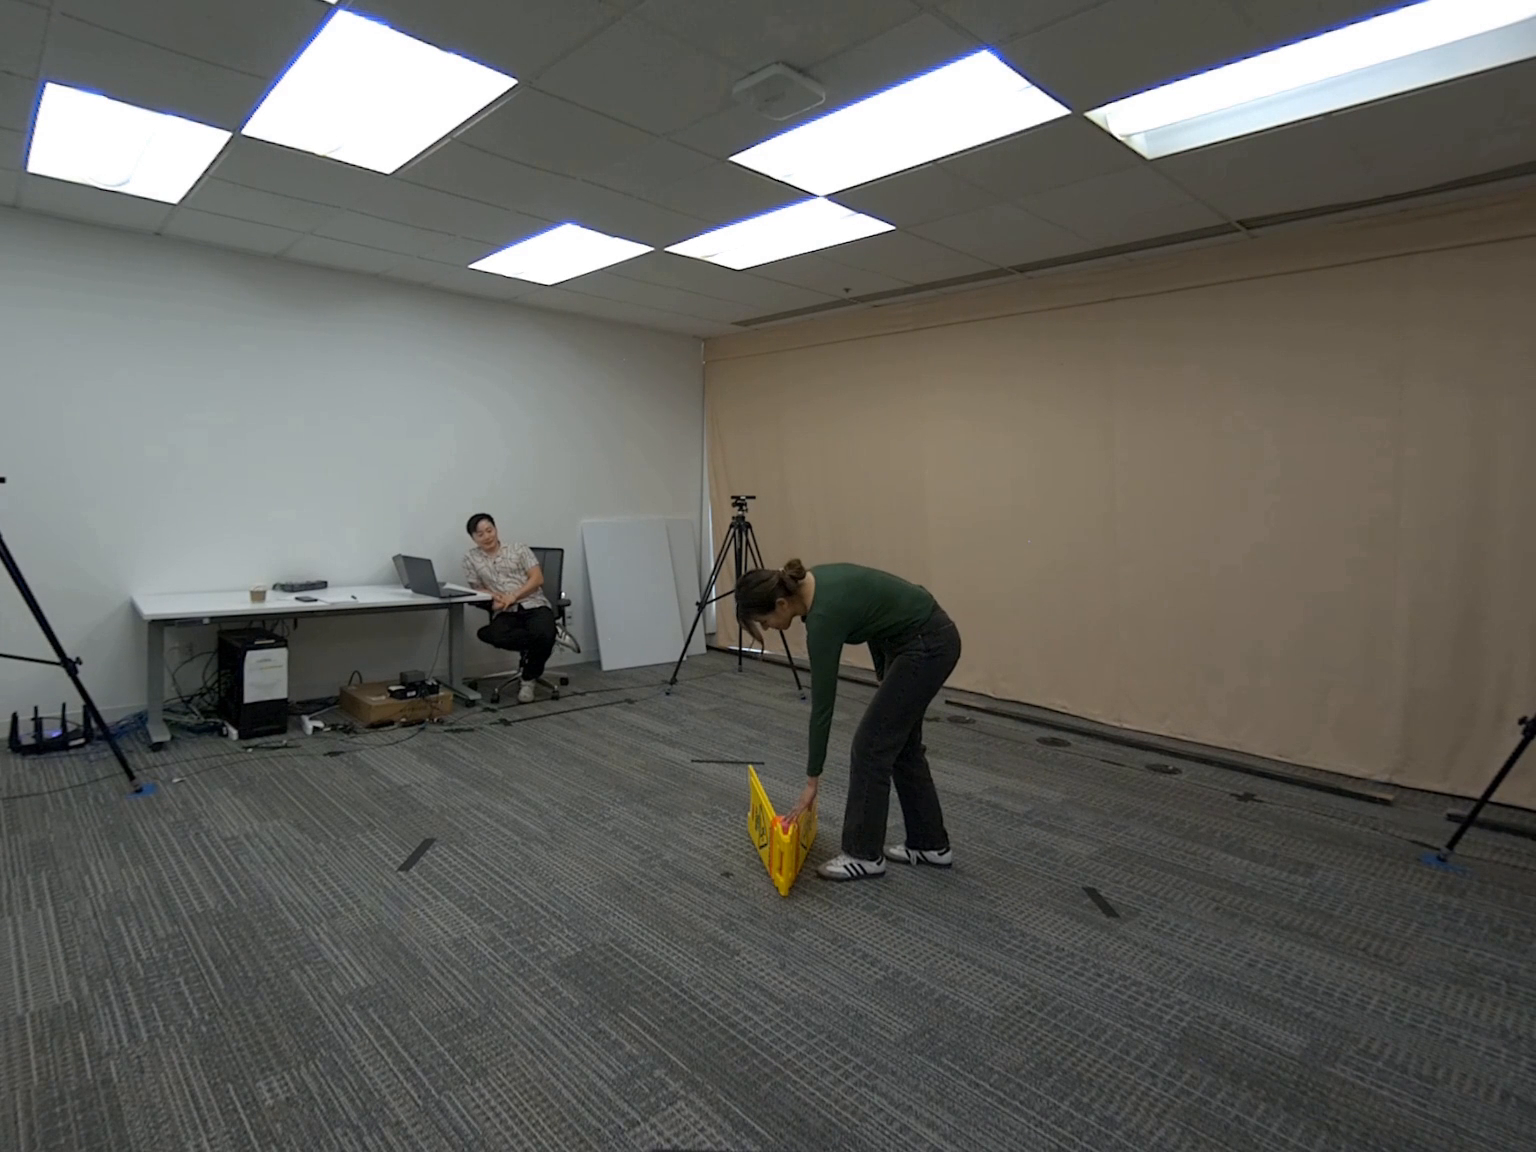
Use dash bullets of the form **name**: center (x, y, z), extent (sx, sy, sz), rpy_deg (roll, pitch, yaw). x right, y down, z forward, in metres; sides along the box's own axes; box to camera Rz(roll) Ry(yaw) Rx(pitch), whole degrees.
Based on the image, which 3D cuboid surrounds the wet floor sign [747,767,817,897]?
- **wet floor sign**: center (0.055, 0.965, 3.196), extent (0.290, 0.281, 0.648), rpy_deg (2, 7, 0)
